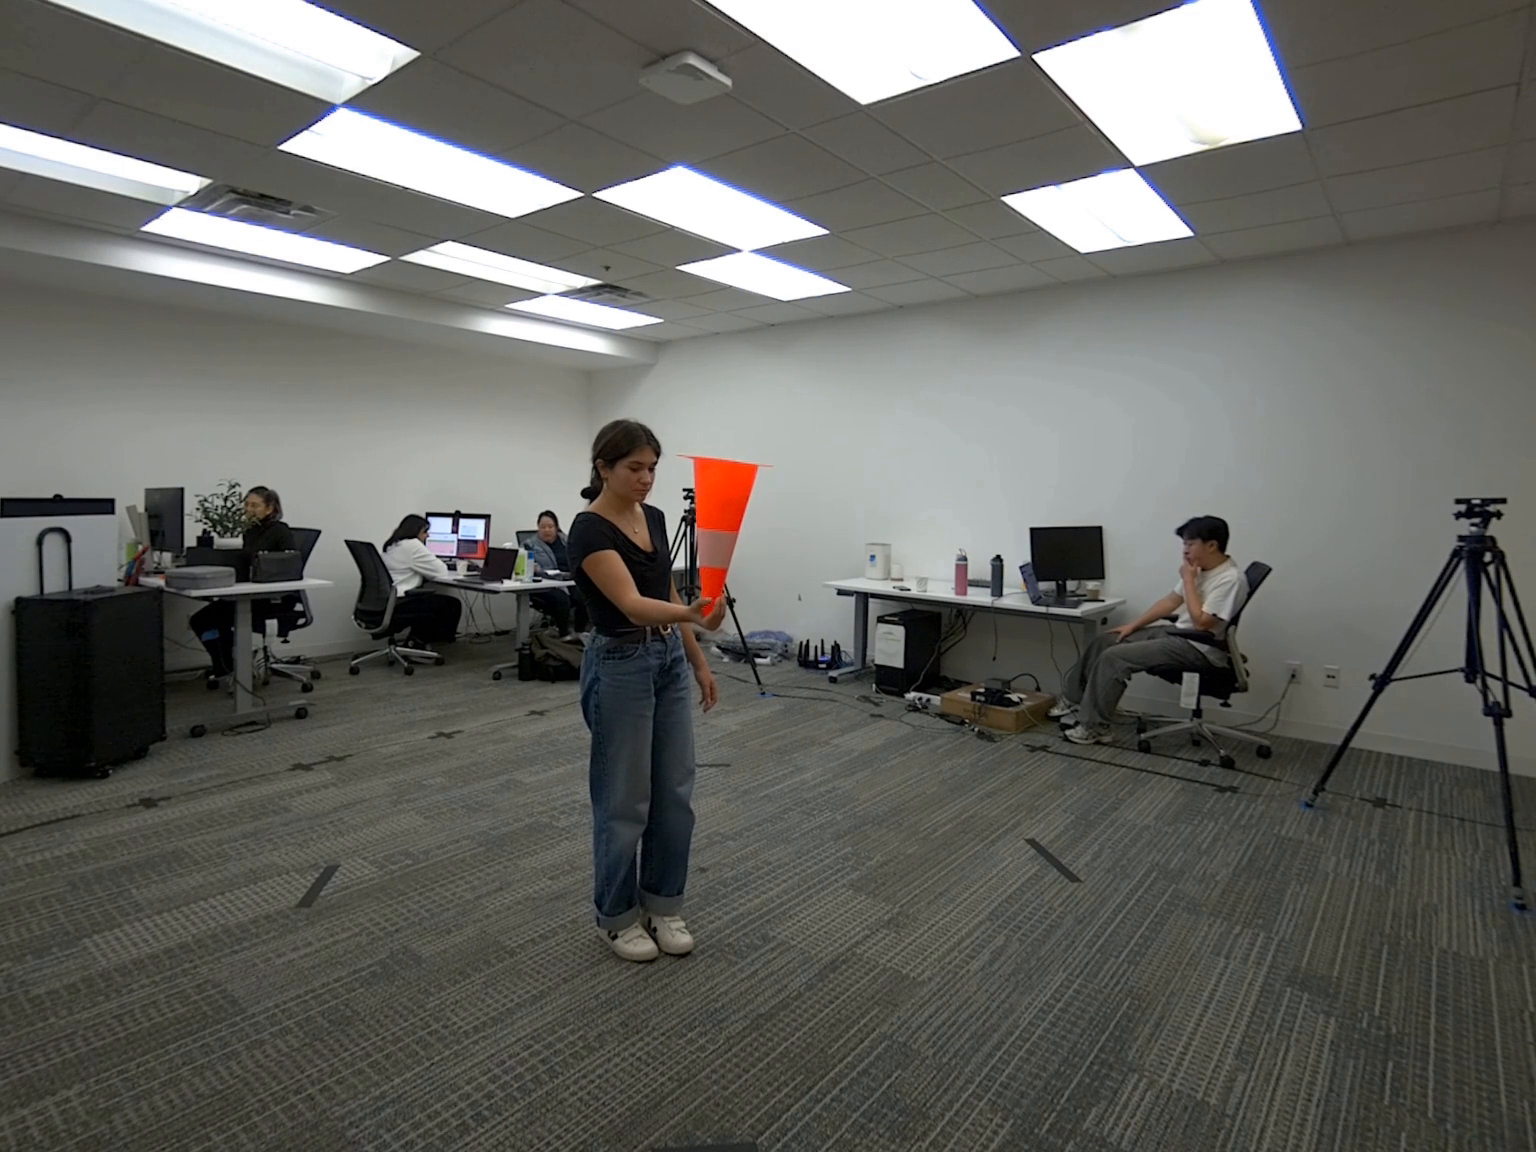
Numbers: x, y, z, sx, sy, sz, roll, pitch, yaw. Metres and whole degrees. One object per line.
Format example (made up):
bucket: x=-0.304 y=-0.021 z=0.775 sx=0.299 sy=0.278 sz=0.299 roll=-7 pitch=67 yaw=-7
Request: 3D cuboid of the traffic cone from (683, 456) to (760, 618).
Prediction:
traffic cone: x=-0.117 y=-0.087 z=2.059 sx=0.206 sy=0.381 sz=0.203 roll=7 pitch=7 yaw=11
